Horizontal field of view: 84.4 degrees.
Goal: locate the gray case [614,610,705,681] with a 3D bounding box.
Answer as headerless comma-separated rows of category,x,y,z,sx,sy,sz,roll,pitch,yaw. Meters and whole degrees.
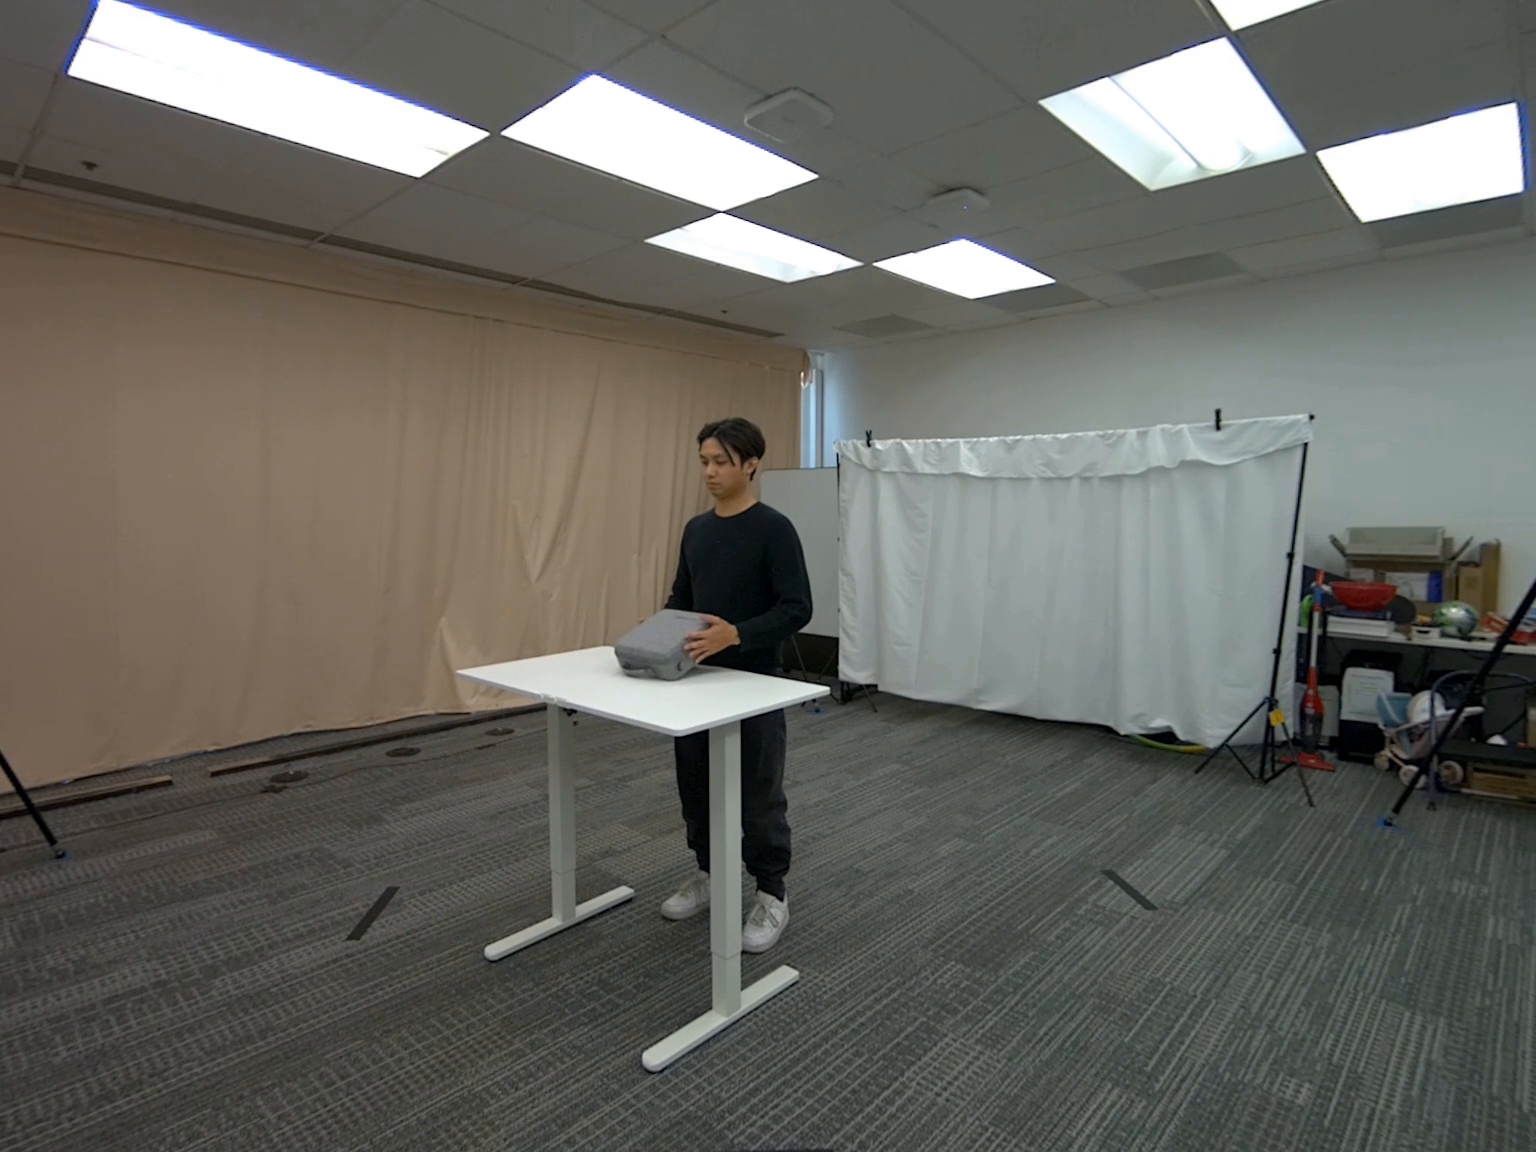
gray case,-0.310,0.207,2.585,0.265,0.102,0.256,5,29,41
